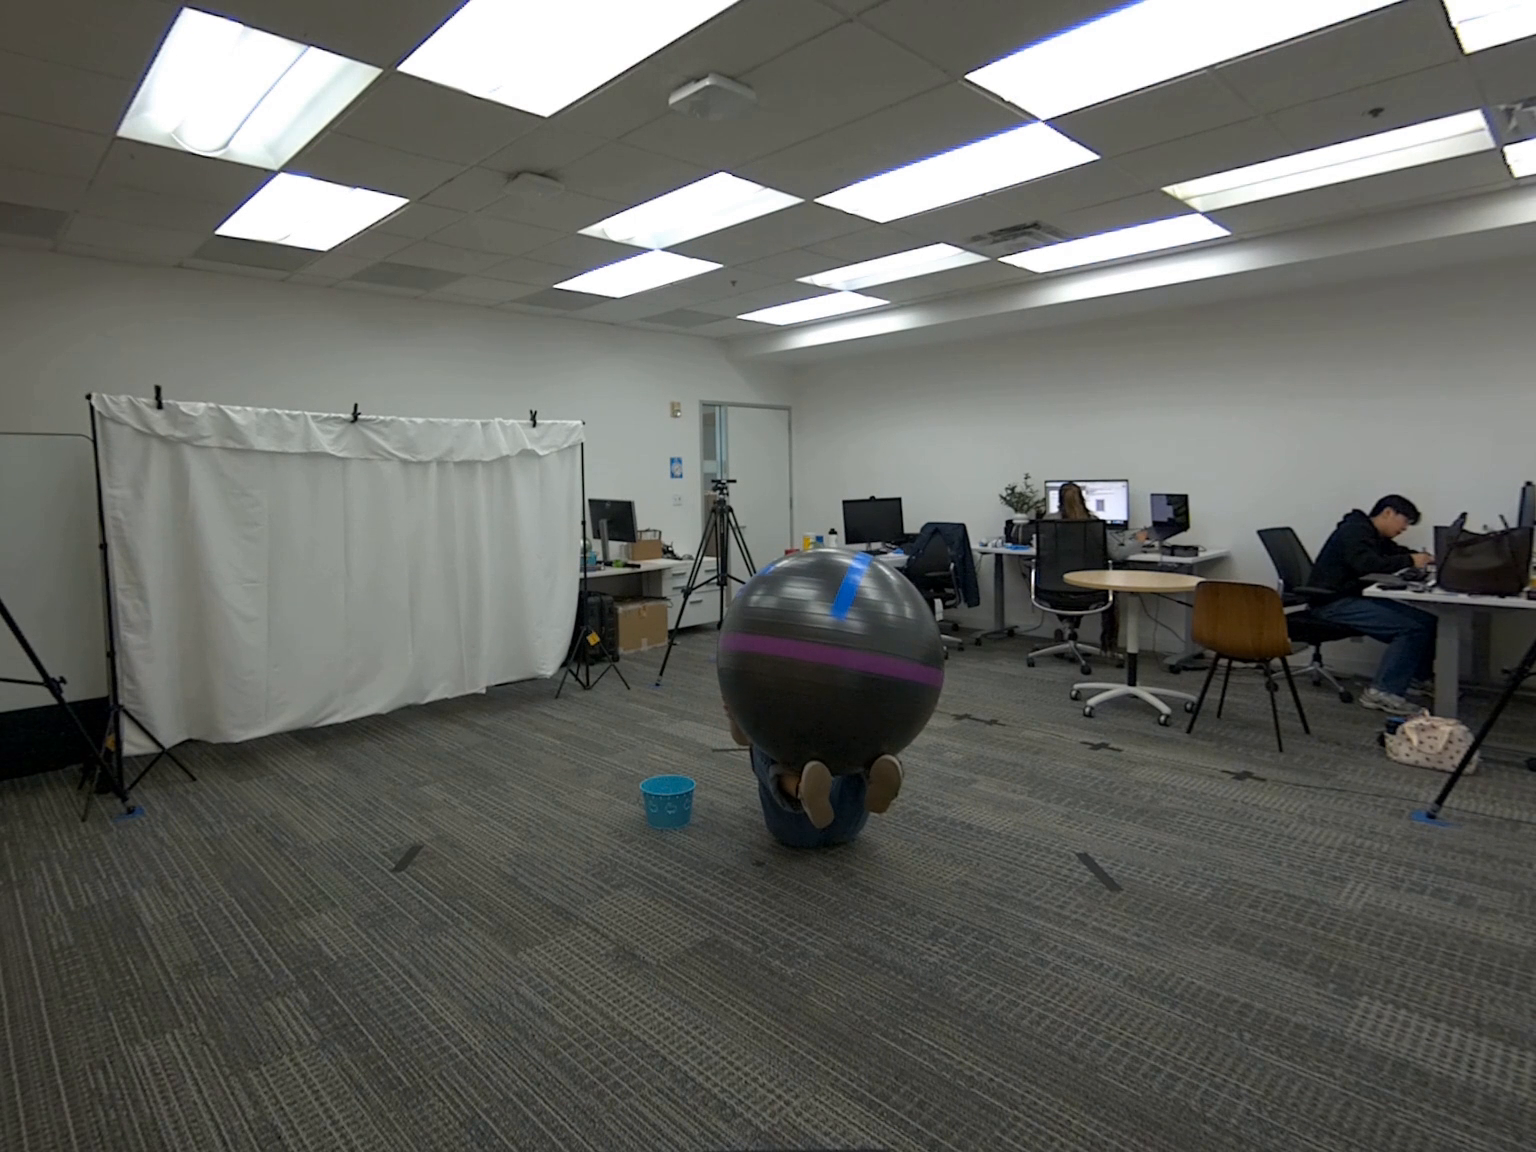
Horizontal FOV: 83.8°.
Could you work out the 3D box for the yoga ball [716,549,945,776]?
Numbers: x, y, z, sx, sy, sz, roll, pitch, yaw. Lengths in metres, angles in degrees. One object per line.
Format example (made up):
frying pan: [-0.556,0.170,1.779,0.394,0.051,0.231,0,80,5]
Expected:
yoga ball: [0.223,0.287,2.898,0.757,0.755,0.762,-1,5,-2]
